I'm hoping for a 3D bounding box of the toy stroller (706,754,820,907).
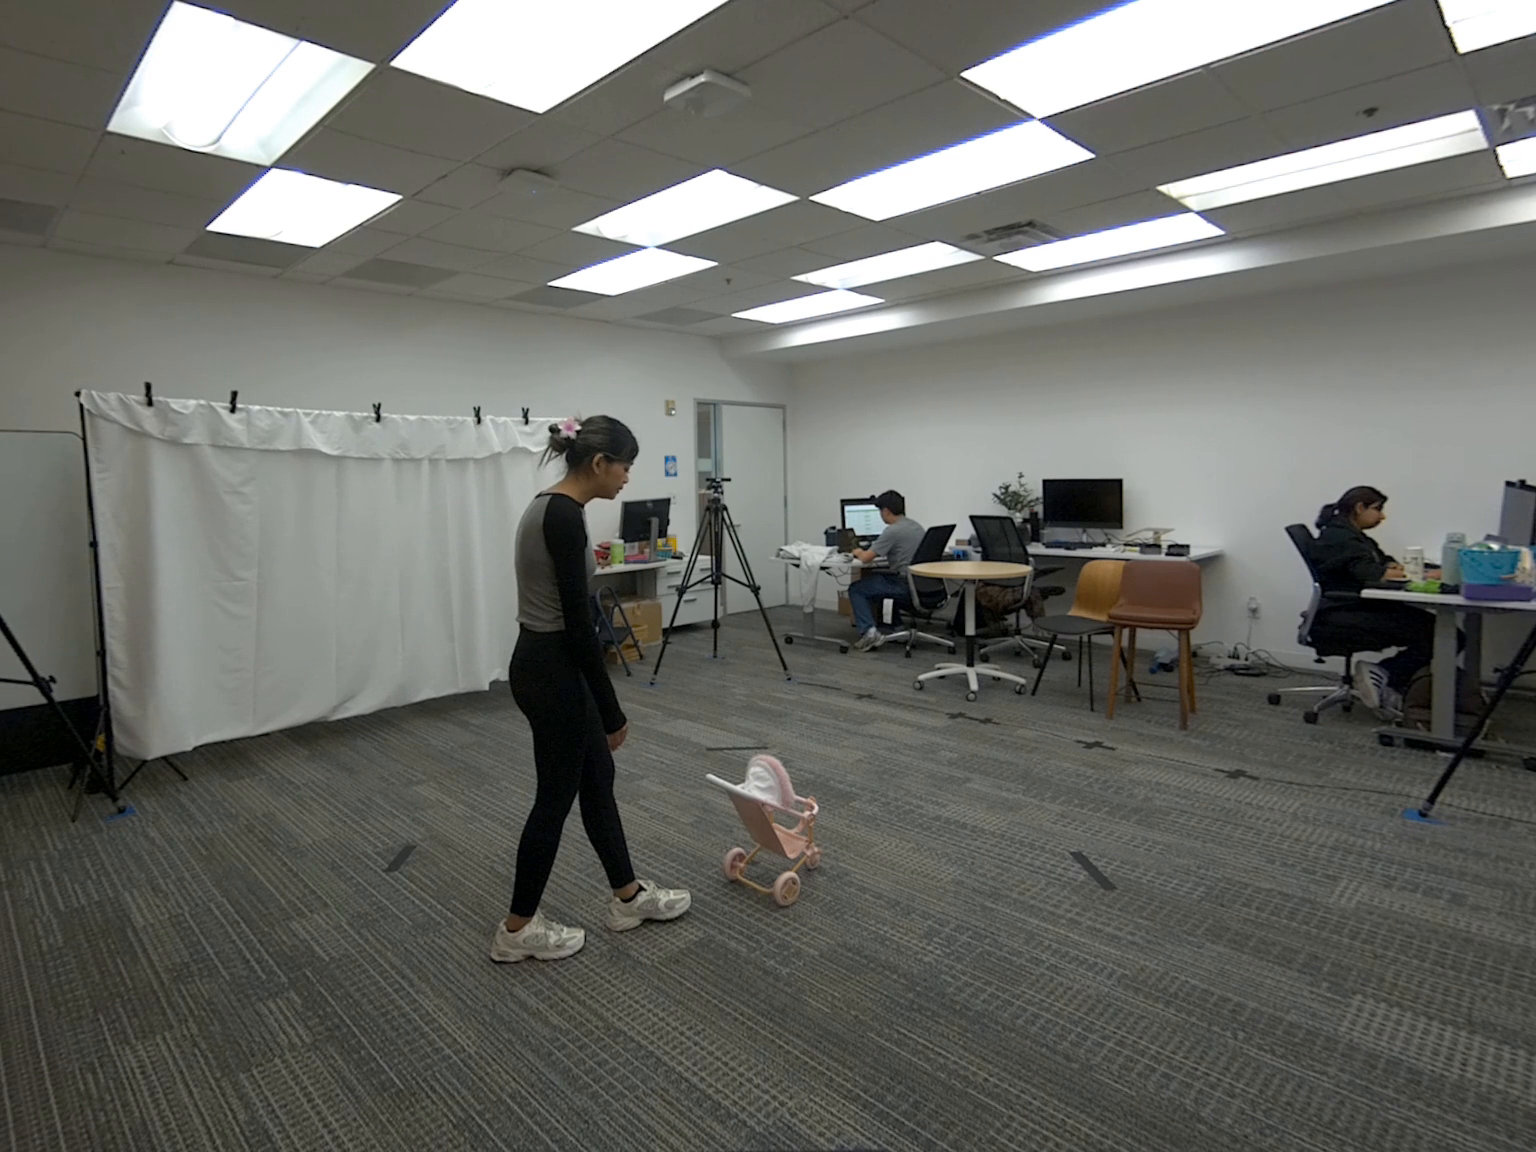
[{"bbox_3d":[0.021,0.840,2.912,0.336,0.526,0.290,-25,18,-35],"label":"toy stroller"}]
